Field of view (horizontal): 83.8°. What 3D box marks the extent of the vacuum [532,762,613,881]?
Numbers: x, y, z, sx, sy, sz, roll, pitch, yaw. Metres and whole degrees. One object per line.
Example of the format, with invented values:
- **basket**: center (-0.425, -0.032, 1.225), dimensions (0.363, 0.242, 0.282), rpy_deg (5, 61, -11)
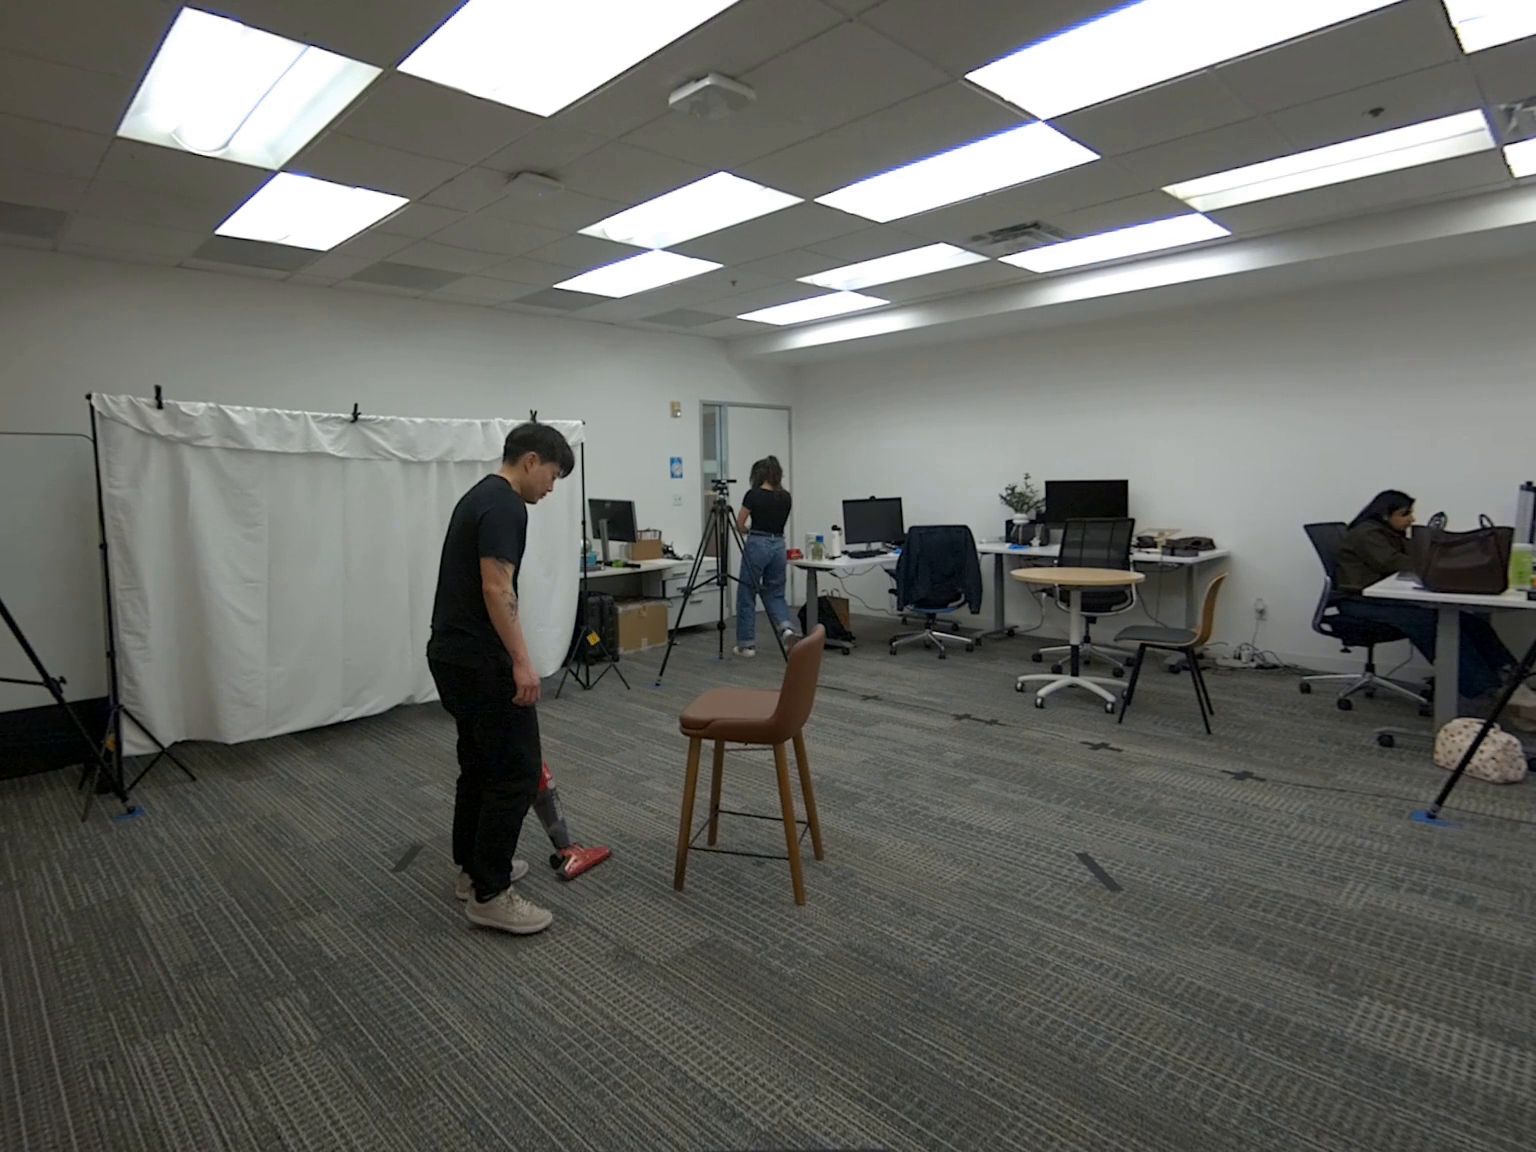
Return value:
- **vacuum**: center (-0.954, 0.621, 3.253), dimensions (0.144, 1.071, 0.246), rpy_deg (-41, -19, 29)
